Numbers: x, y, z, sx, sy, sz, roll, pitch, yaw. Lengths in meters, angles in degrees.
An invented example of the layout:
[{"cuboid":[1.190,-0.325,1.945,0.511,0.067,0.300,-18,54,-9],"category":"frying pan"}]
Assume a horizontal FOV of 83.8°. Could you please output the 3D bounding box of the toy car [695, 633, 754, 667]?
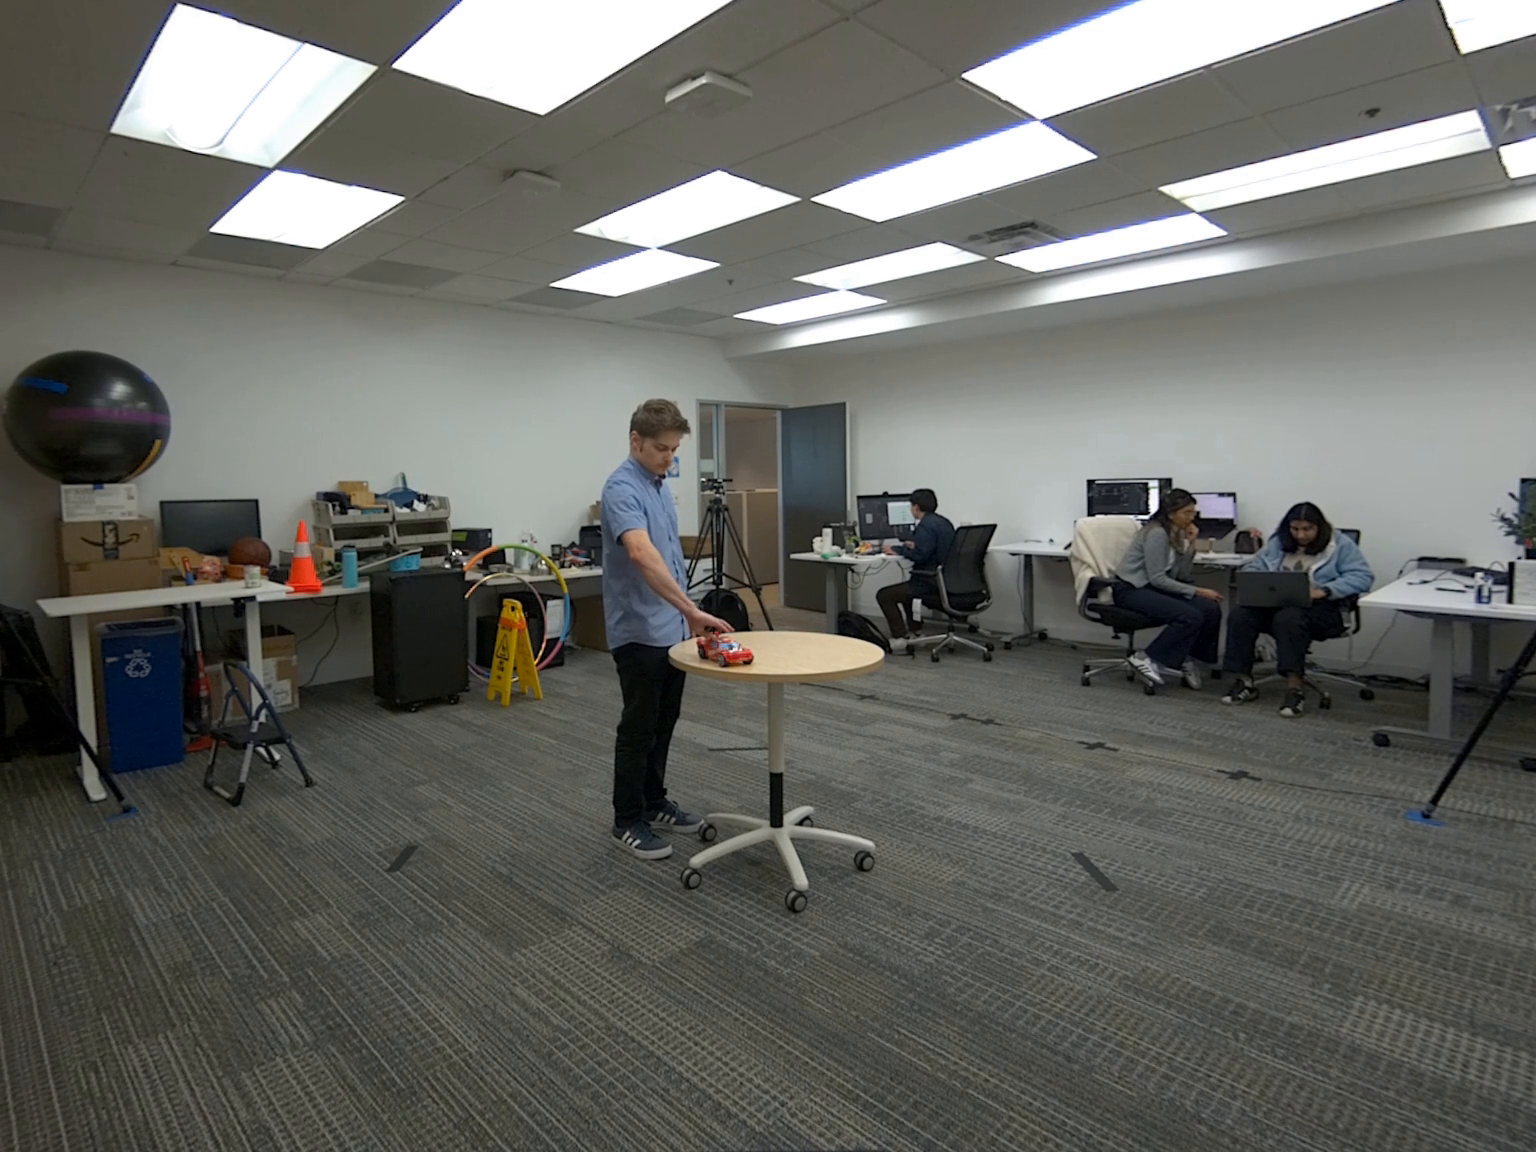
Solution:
[{"cuboid":[-0.154,0.253,2.891,0.127,0.082,0.263,-4,18,-28],"category":"toy car"}]
